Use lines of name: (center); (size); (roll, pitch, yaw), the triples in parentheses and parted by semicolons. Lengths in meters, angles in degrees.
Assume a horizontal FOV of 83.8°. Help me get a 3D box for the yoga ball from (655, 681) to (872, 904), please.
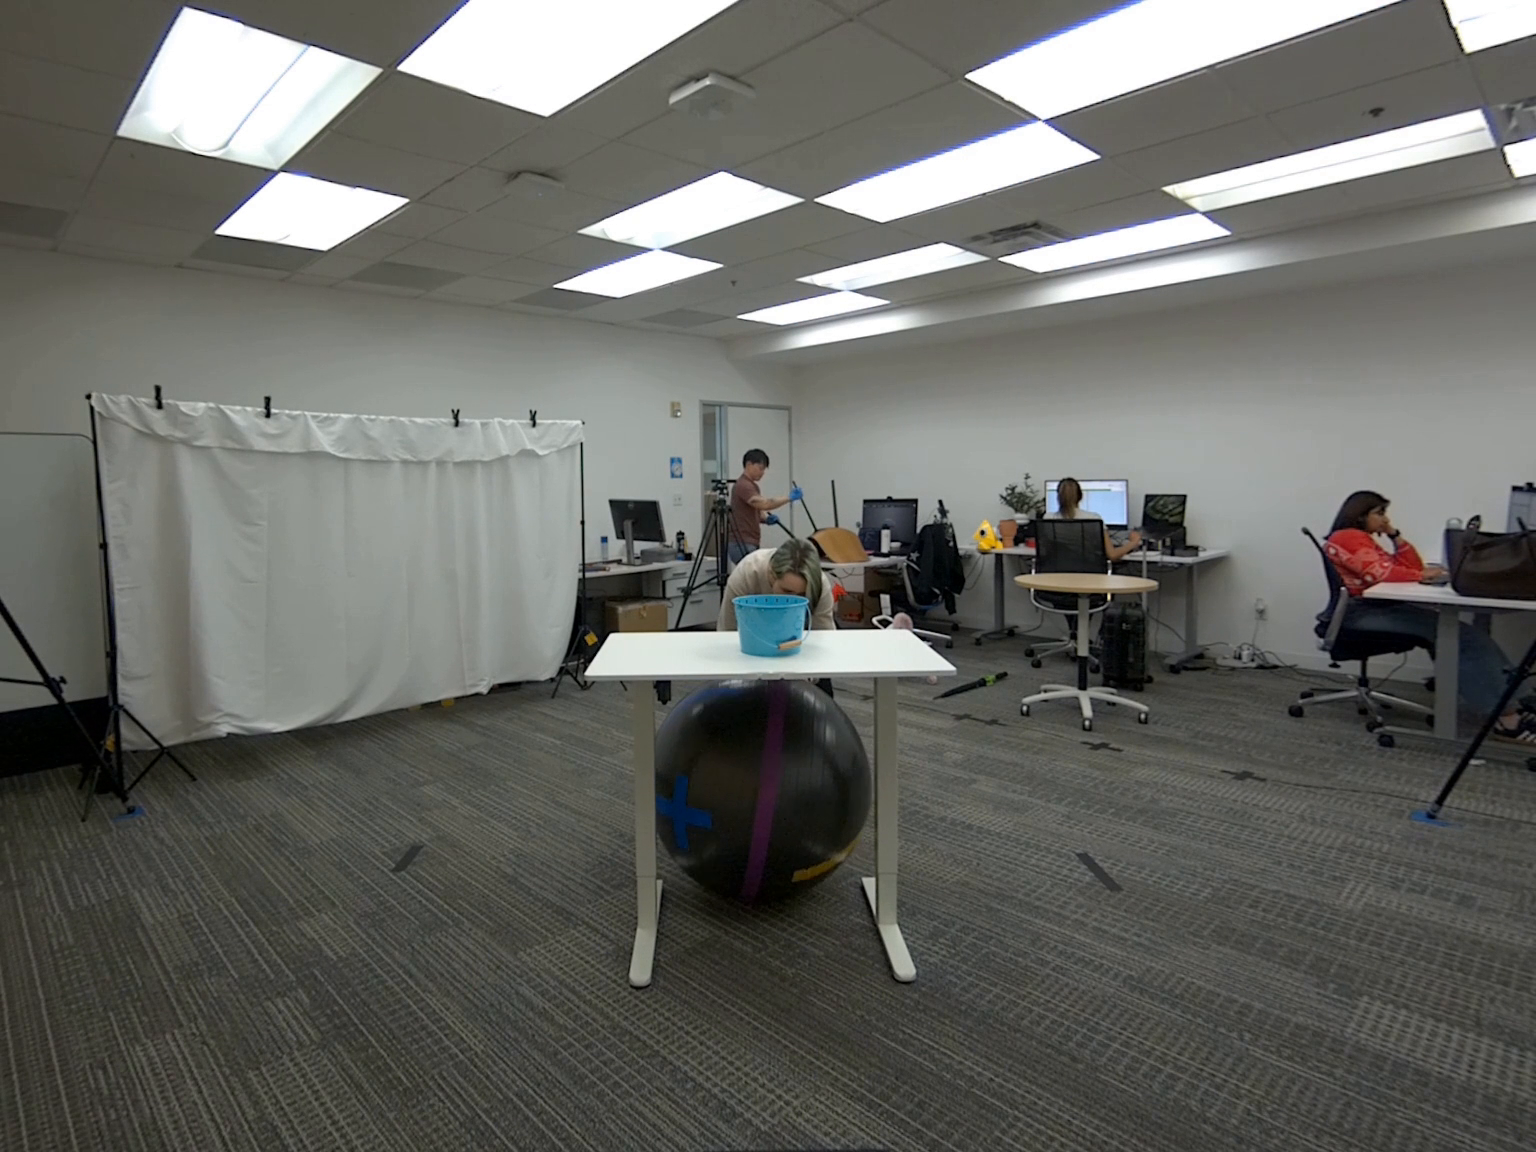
yoga ball: (-0.037, 0.704, 2.909); (0.757, 0.755, 0.762); (-1, 5, -2)
